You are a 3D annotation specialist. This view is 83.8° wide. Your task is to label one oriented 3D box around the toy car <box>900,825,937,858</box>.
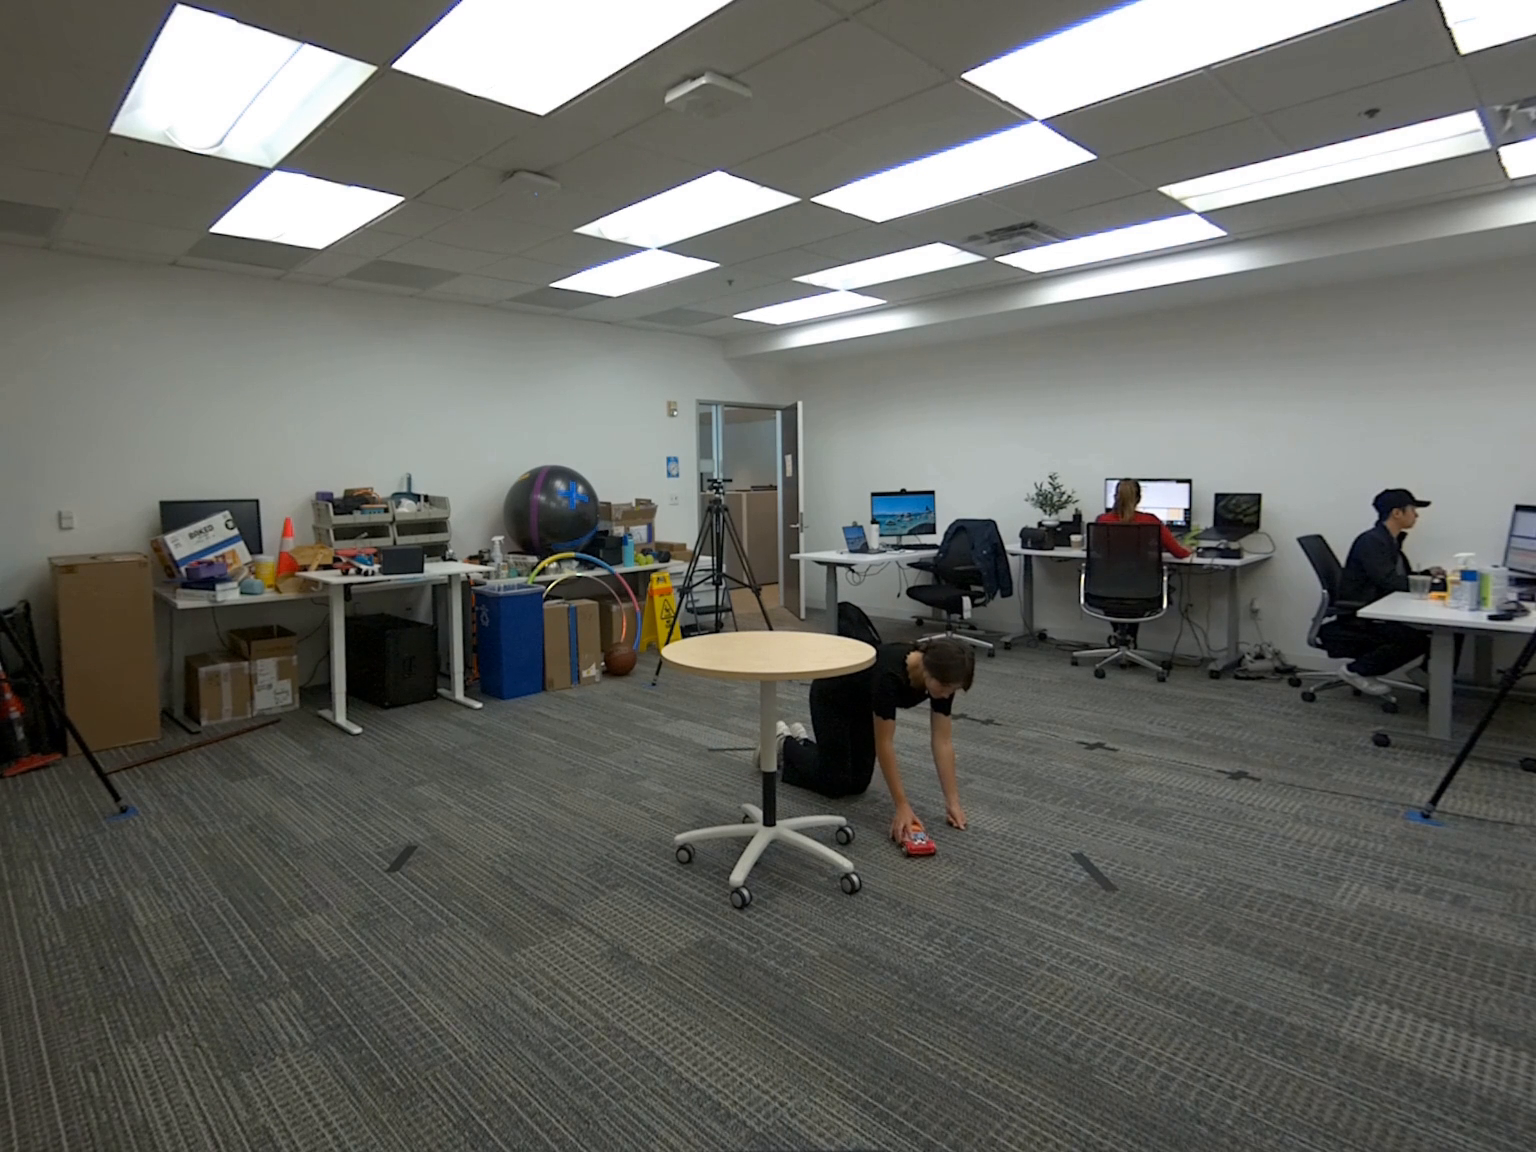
[{"bbox_3d":[0.546,0.994,3.242,0.130,0.082,0.259,-2,16,-6],"label":"toy car"}]
